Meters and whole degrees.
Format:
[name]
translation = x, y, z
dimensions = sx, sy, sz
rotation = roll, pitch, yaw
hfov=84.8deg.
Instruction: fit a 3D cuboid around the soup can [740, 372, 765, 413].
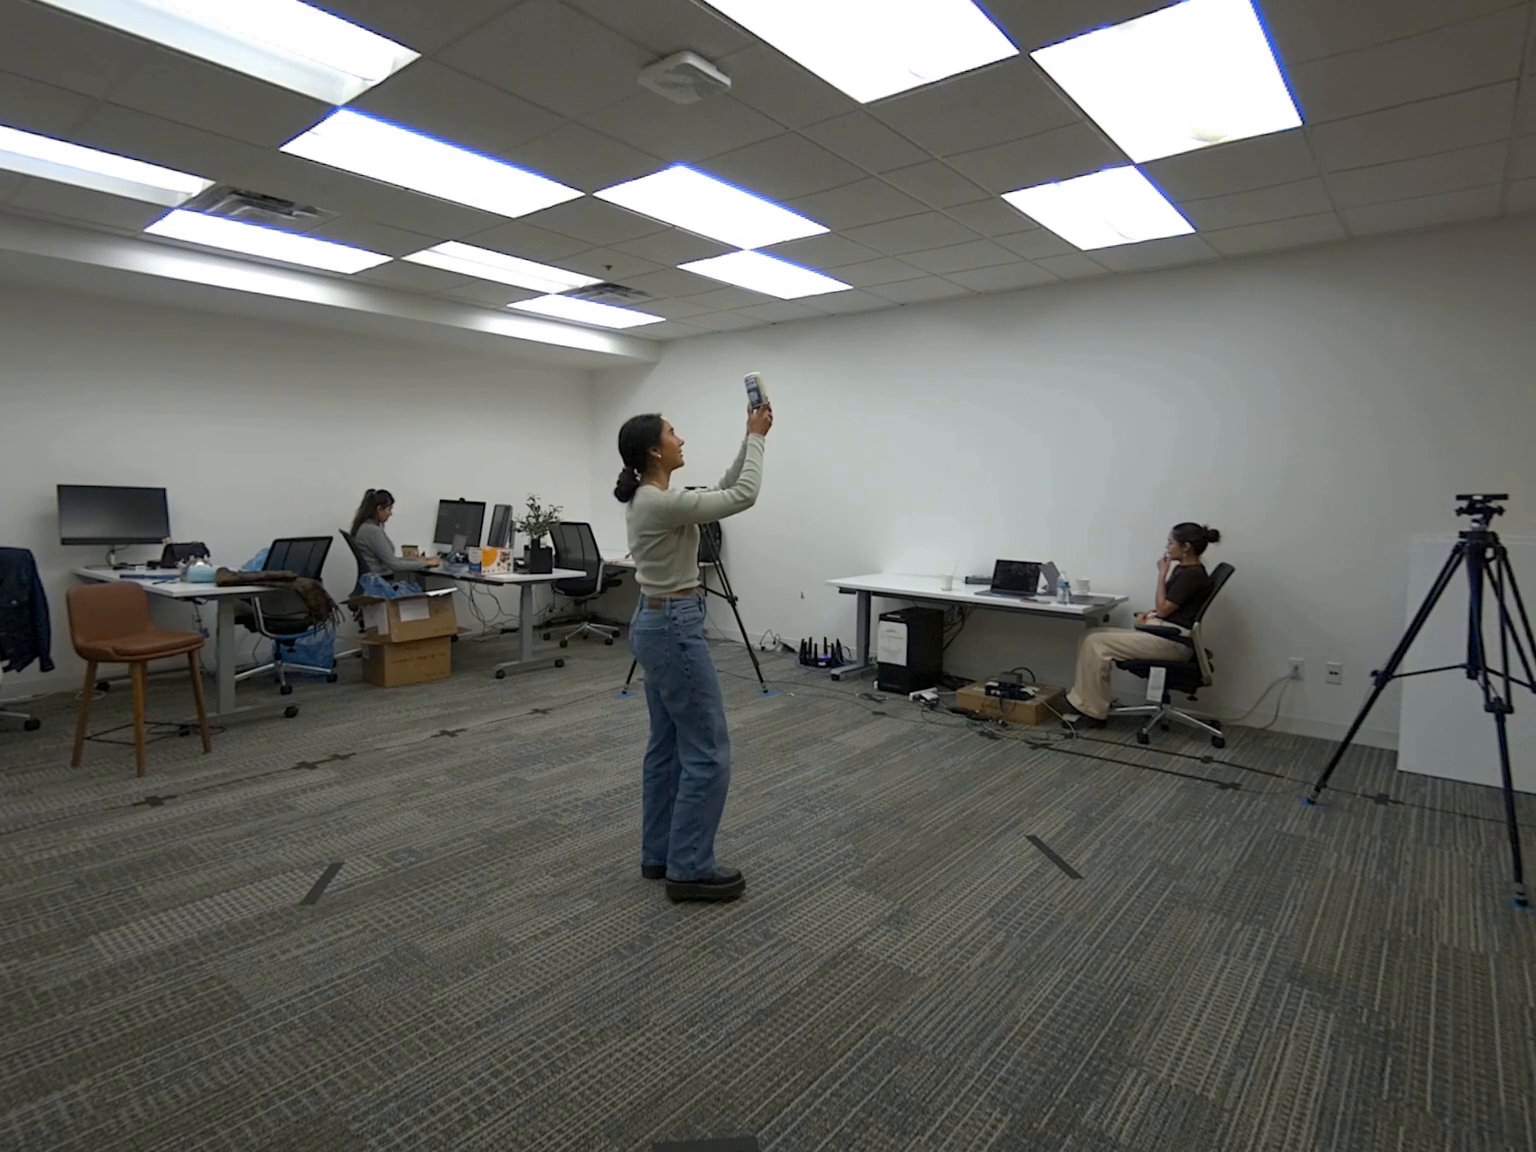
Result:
[soup can]
translation = -0.056, -0.665, 3.047
dimensions = 0.067, 0.122, 0.067
rotation = -9, -4, -2
